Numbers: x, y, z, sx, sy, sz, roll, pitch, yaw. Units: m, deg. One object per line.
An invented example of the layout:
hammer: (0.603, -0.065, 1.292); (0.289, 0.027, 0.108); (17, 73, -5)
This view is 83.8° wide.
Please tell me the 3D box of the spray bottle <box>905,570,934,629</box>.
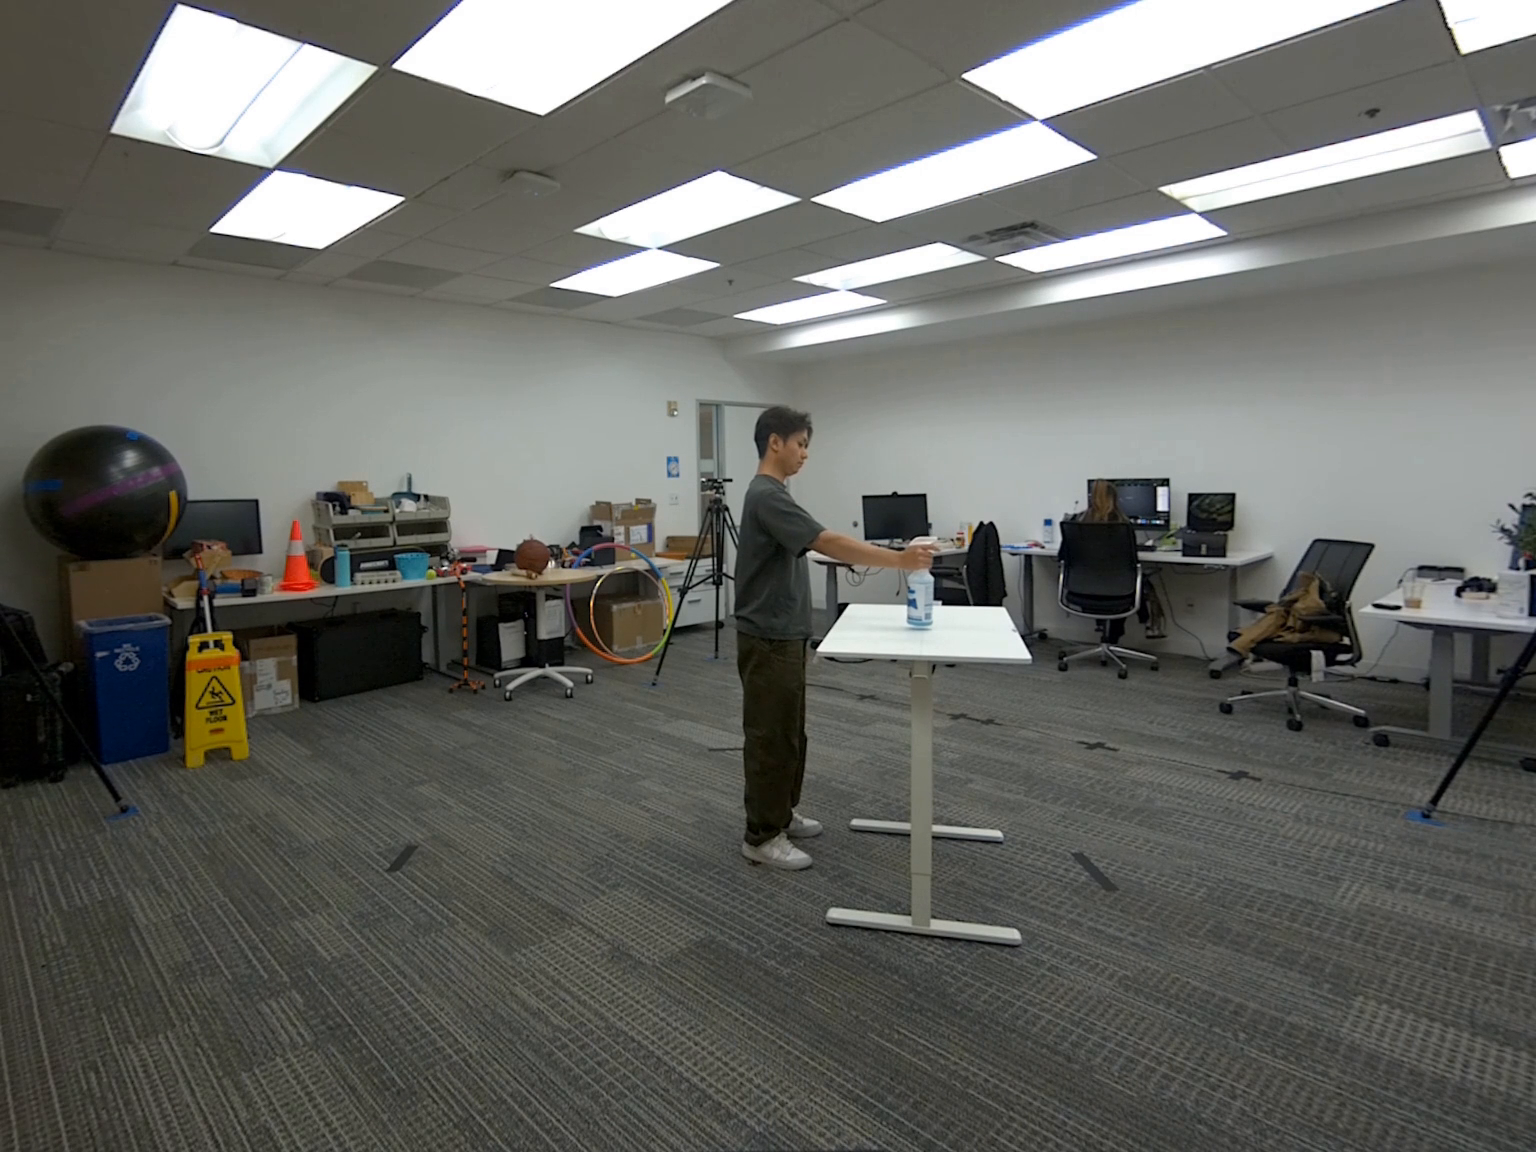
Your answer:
spray bottle: (0.520, 0.019, 2.856); (0.093, 0.295, 0.085); (7, 9, 36)
